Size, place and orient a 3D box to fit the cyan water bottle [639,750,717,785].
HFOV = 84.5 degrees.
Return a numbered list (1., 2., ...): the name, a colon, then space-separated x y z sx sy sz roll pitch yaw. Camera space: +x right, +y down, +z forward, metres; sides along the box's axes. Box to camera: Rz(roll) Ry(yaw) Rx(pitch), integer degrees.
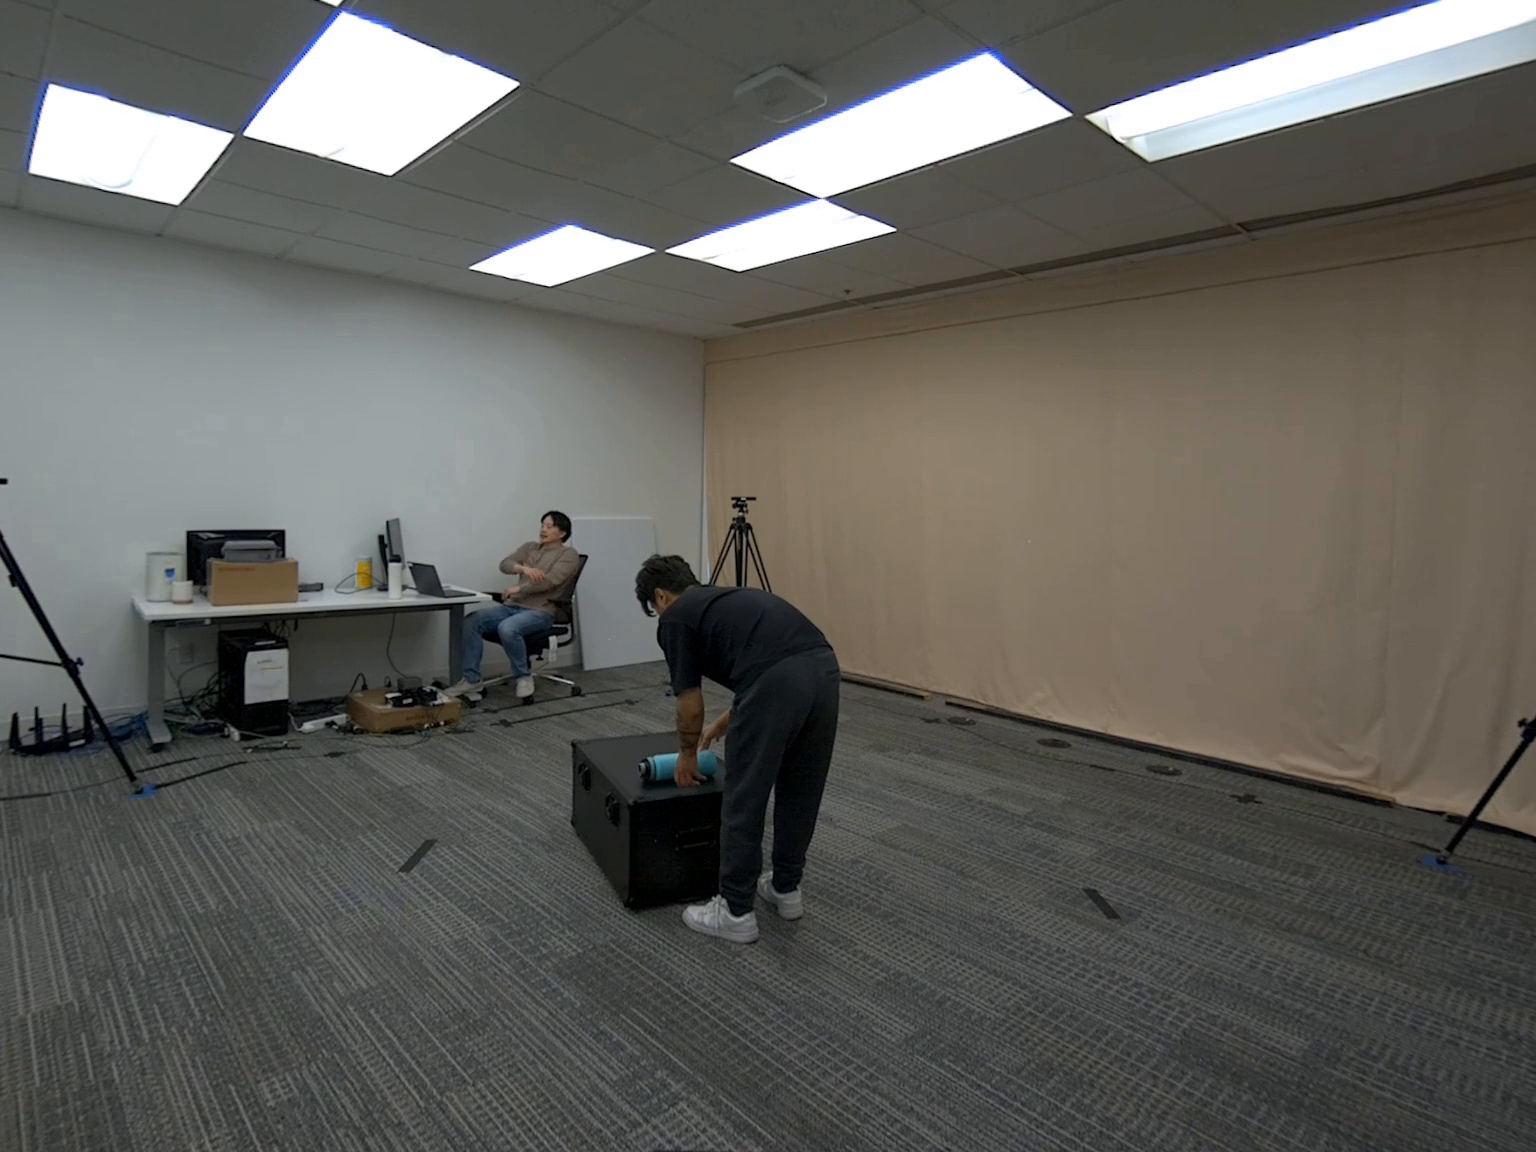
1. cyan water bottle: -0.332 0.684 3.029 0.279 0.092 0.094 -1 5 -22
